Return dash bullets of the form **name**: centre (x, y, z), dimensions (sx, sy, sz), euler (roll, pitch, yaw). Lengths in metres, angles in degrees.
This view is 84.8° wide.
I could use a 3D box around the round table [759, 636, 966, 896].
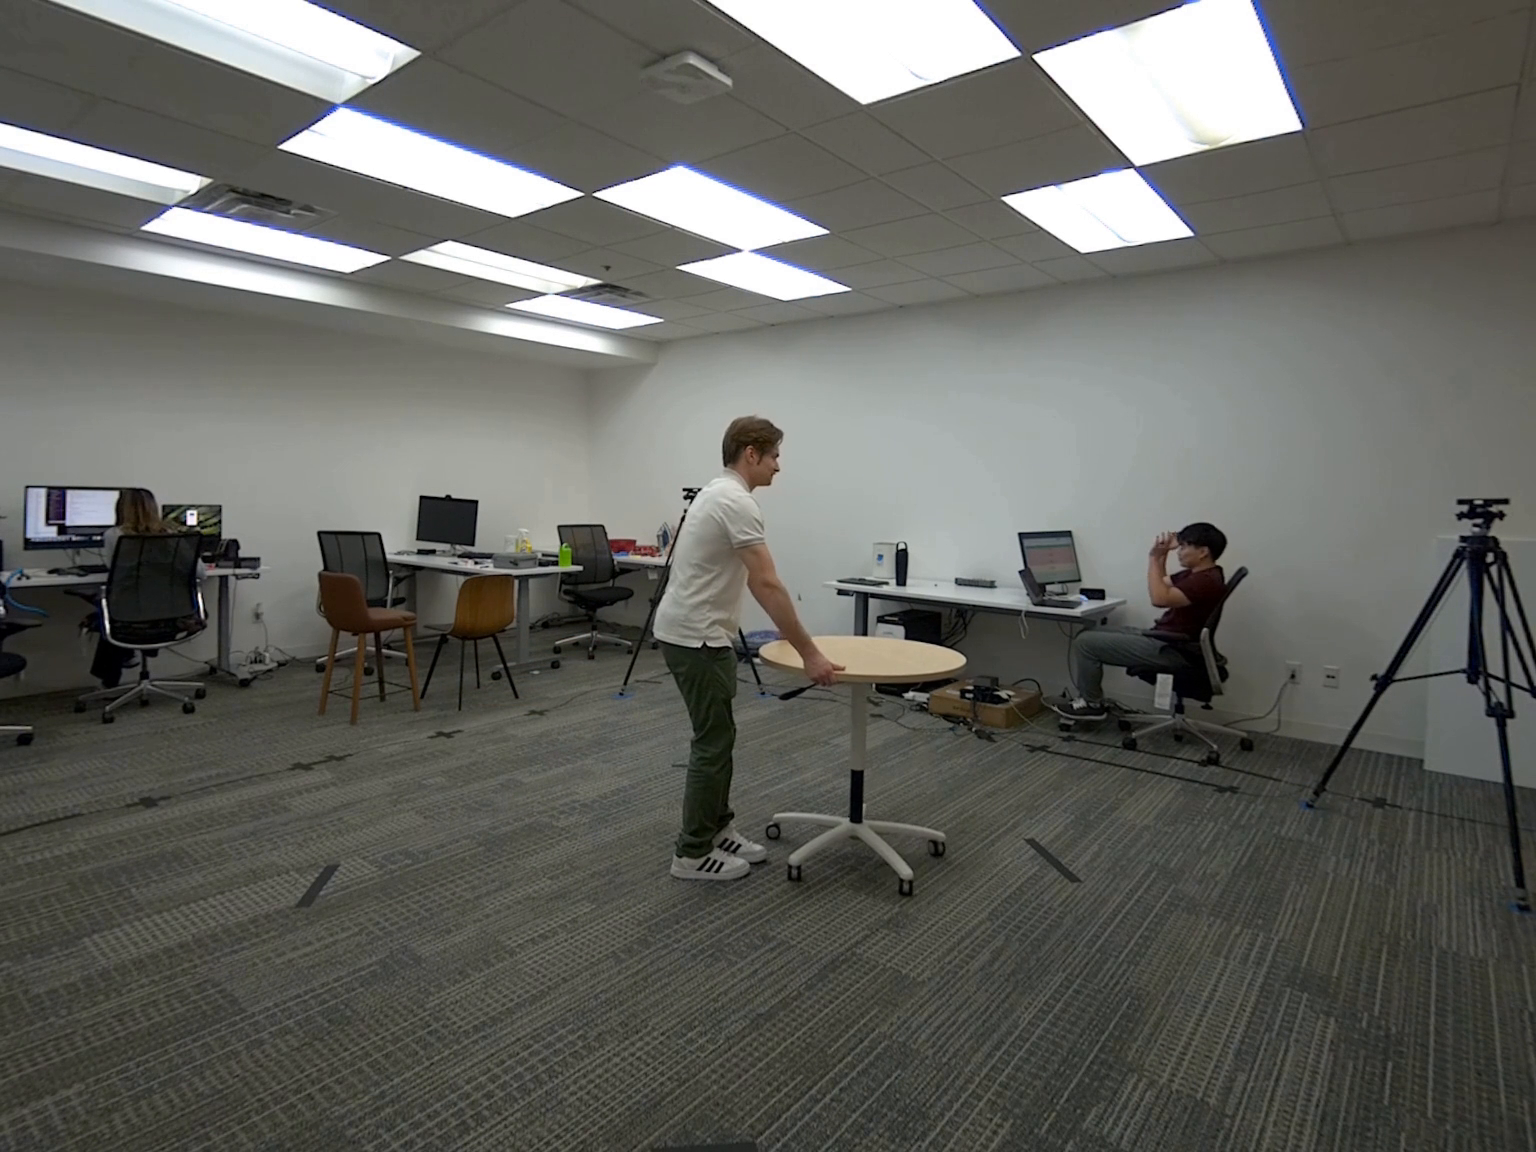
- **round table**: centre (0.328, 0.684, 3.214), dimensions (0.763, 0.791, 0.768), euler (1, 4, -2)
